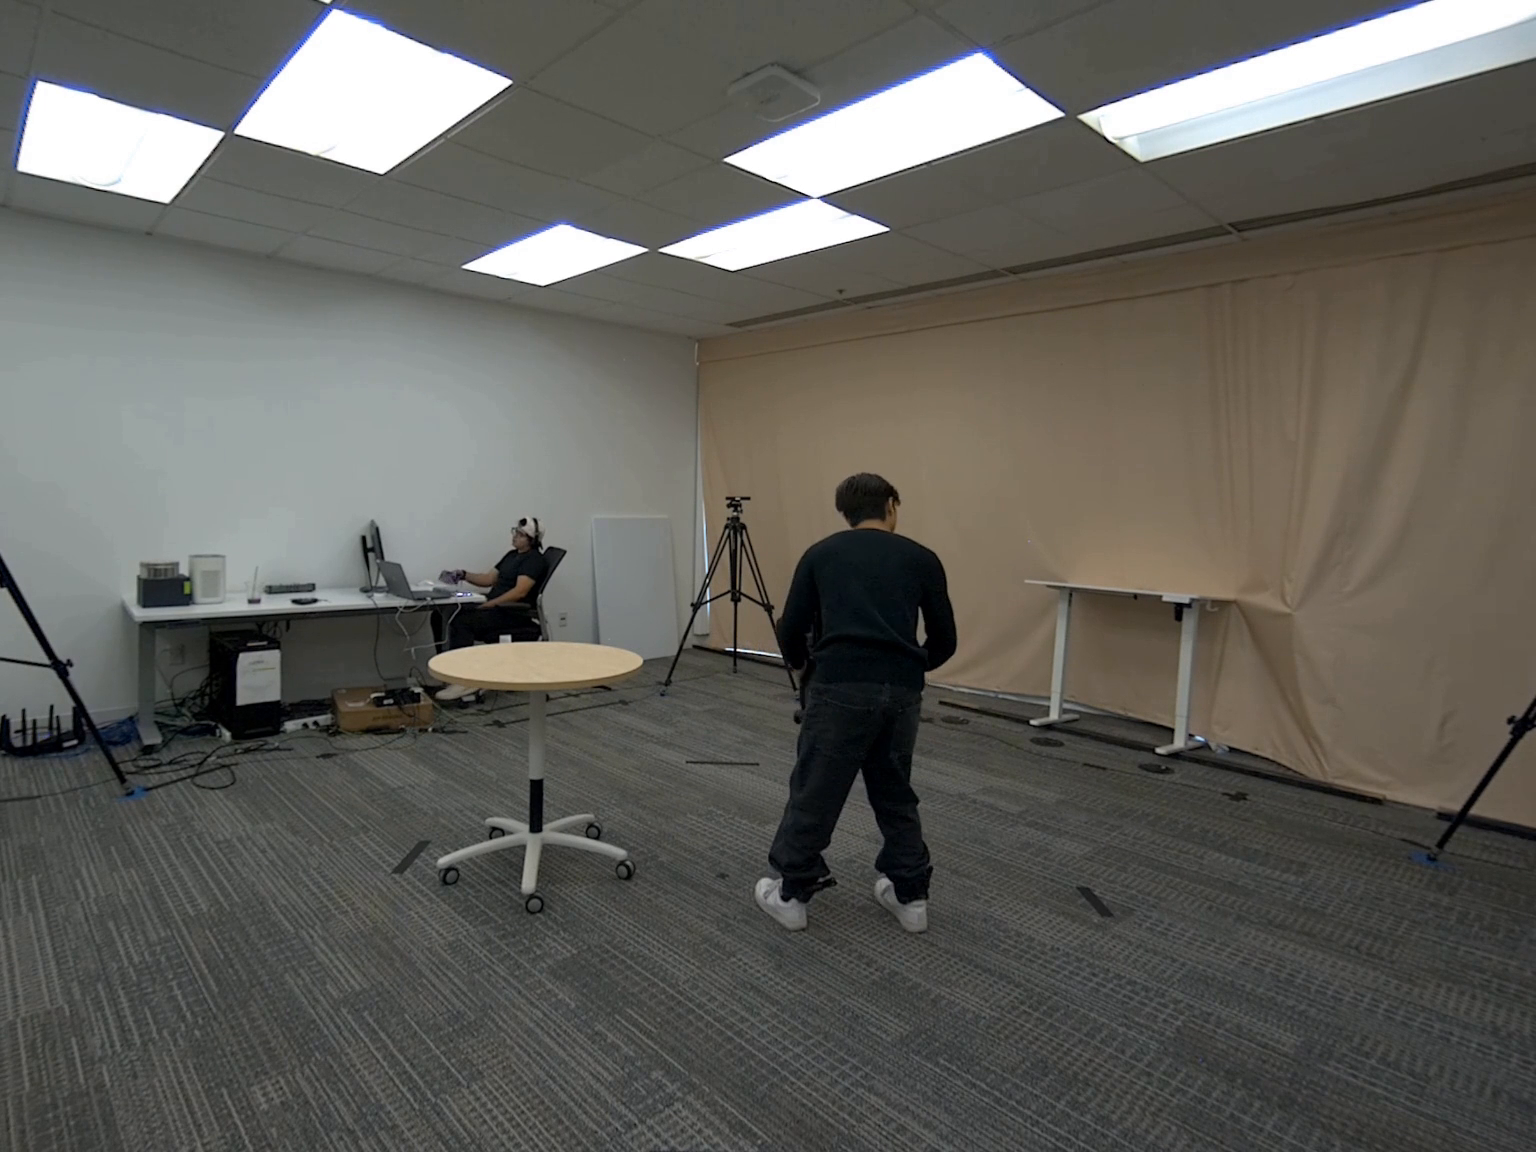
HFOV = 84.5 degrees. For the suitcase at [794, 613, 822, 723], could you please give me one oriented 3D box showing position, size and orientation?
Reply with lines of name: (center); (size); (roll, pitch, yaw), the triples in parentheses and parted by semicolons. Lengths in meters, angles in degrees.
suitcase: (0.288, 0.280, 3.102); (0.374, 0.551, 0.249); (-3, -3, -6)
